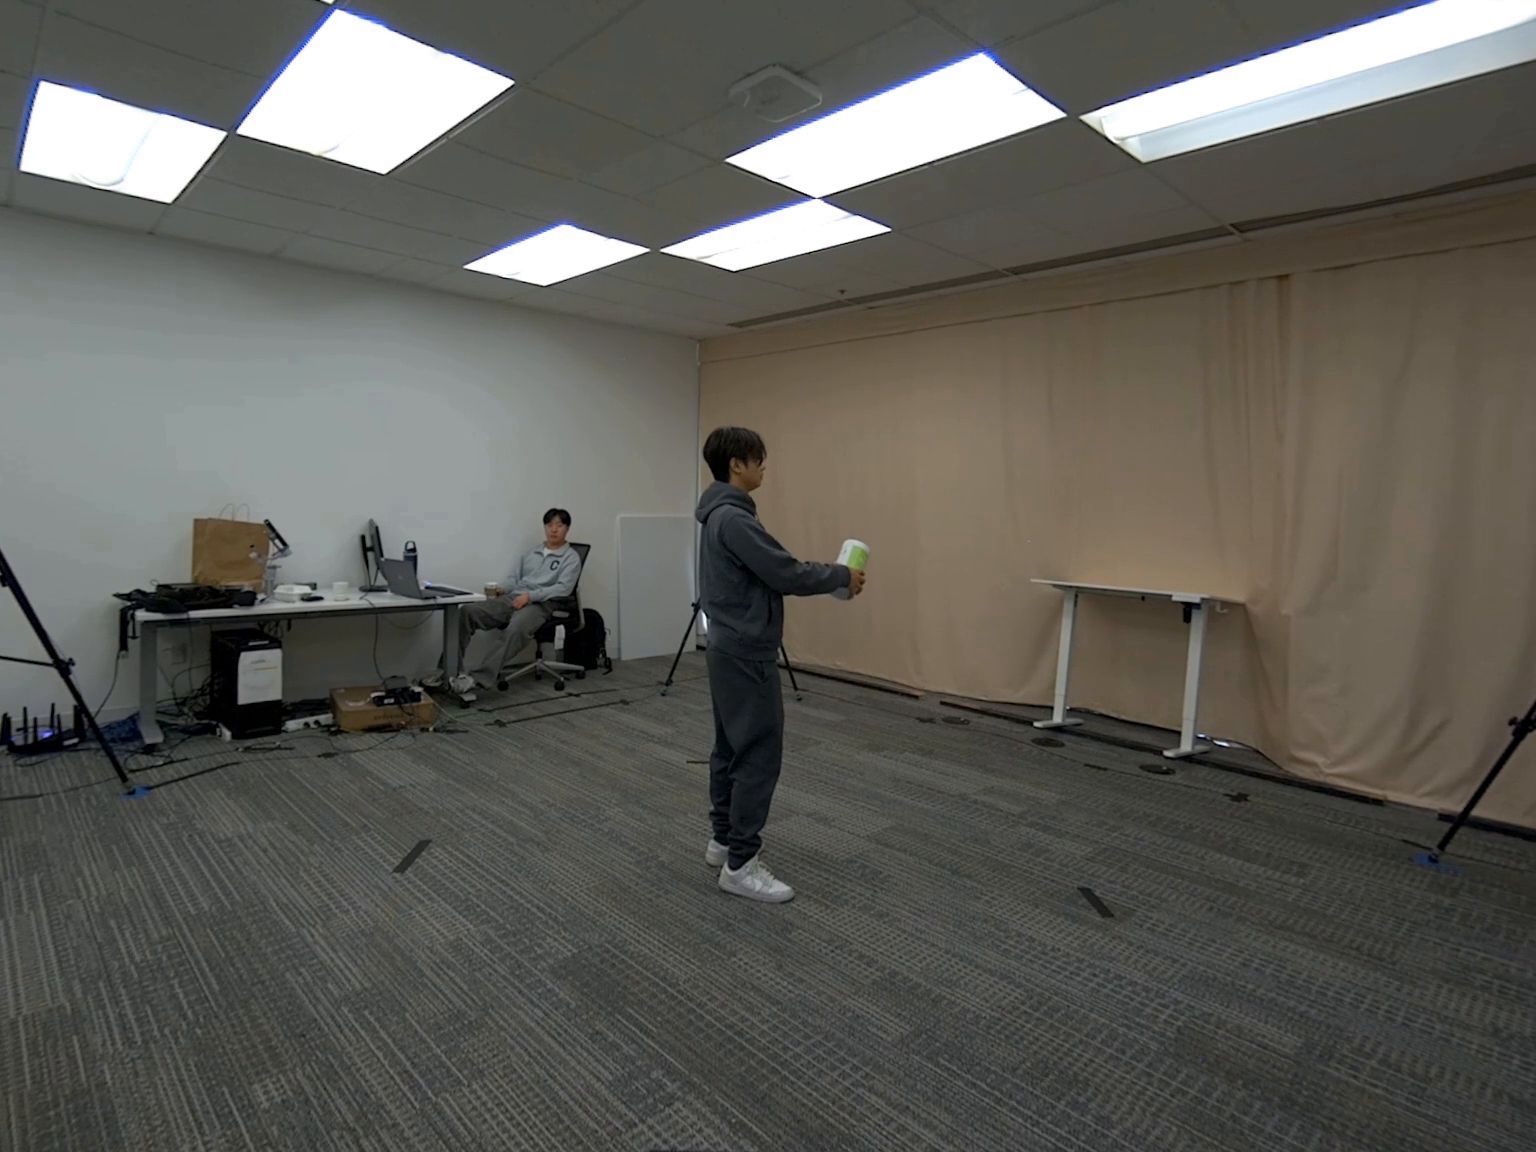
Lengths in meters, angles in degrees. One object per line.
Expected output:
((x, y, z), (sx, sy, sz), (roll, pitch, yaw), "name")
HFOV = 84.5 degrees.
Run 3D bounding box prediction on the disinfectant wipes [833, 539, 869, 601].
((0.297, -0.024, 3.208), (0.119, 0.219, 0.116), (20, -25, 8), "disinfectant wipes")
